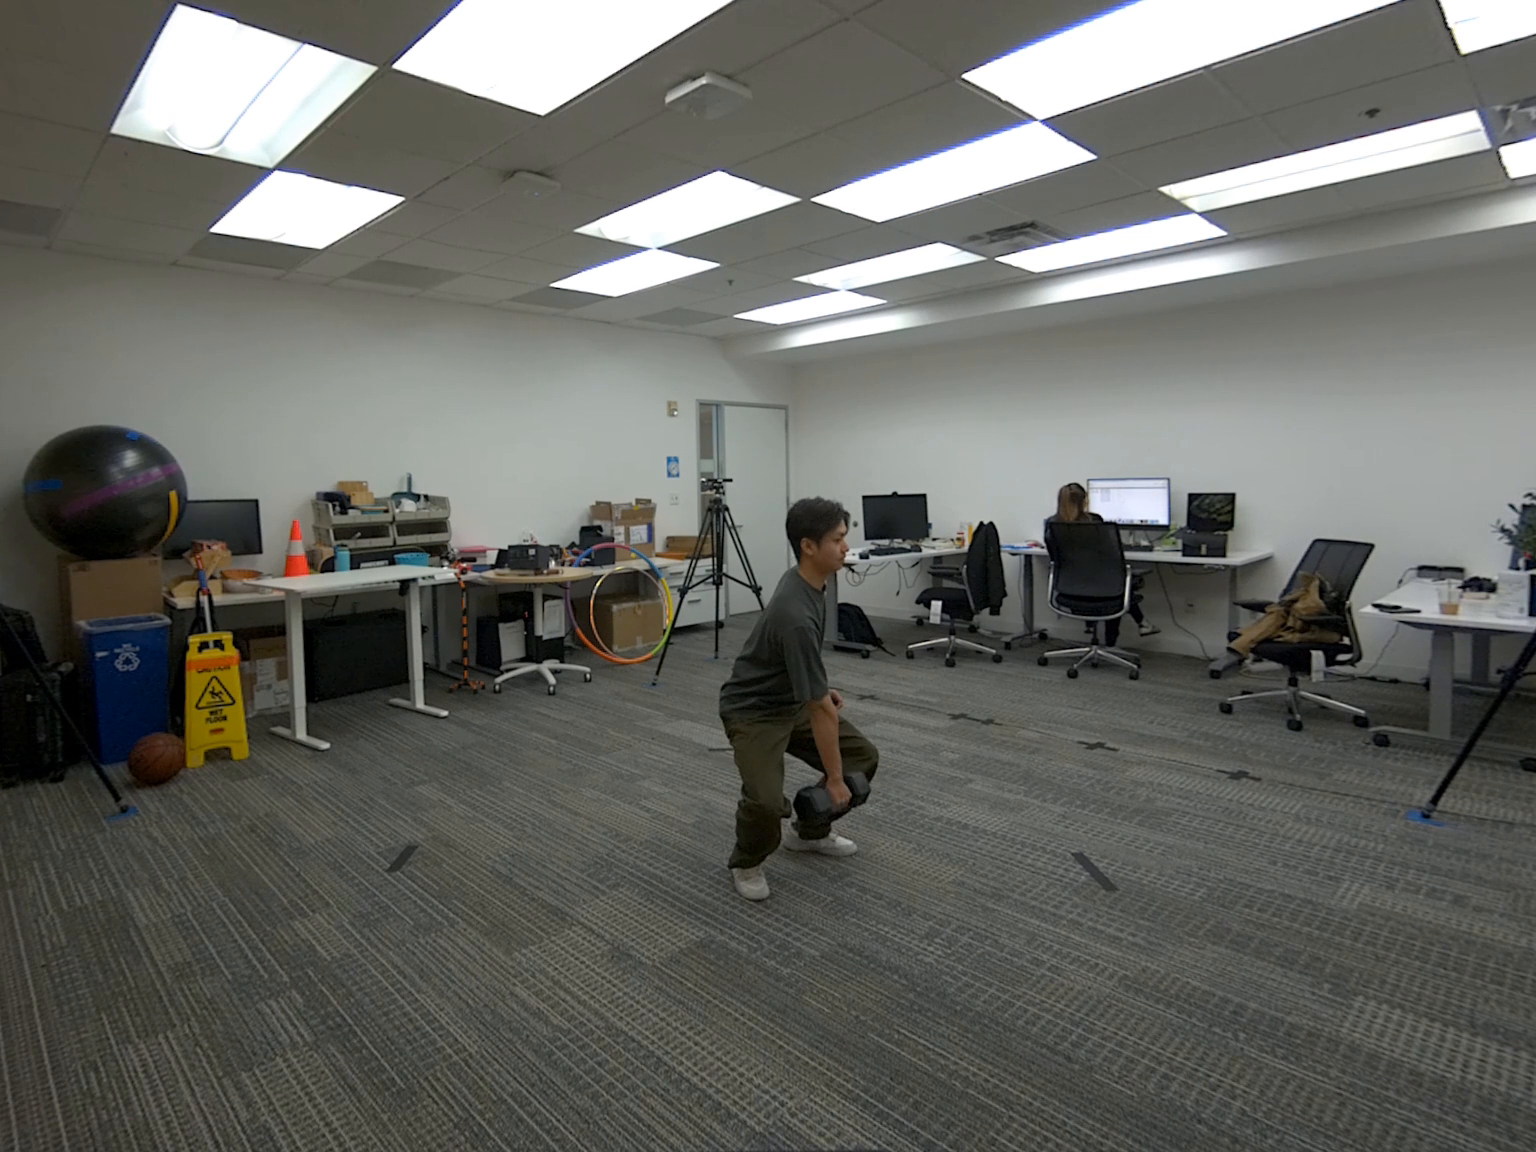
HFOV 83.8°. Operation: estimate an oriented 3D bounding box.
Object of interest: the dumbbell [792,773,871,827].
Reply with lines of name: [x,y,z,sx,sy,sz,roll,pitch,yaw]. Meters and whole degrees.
dumbbell: [0.209,0.739,2.868,0.286,0.121,0.113,-7,35,-45]
